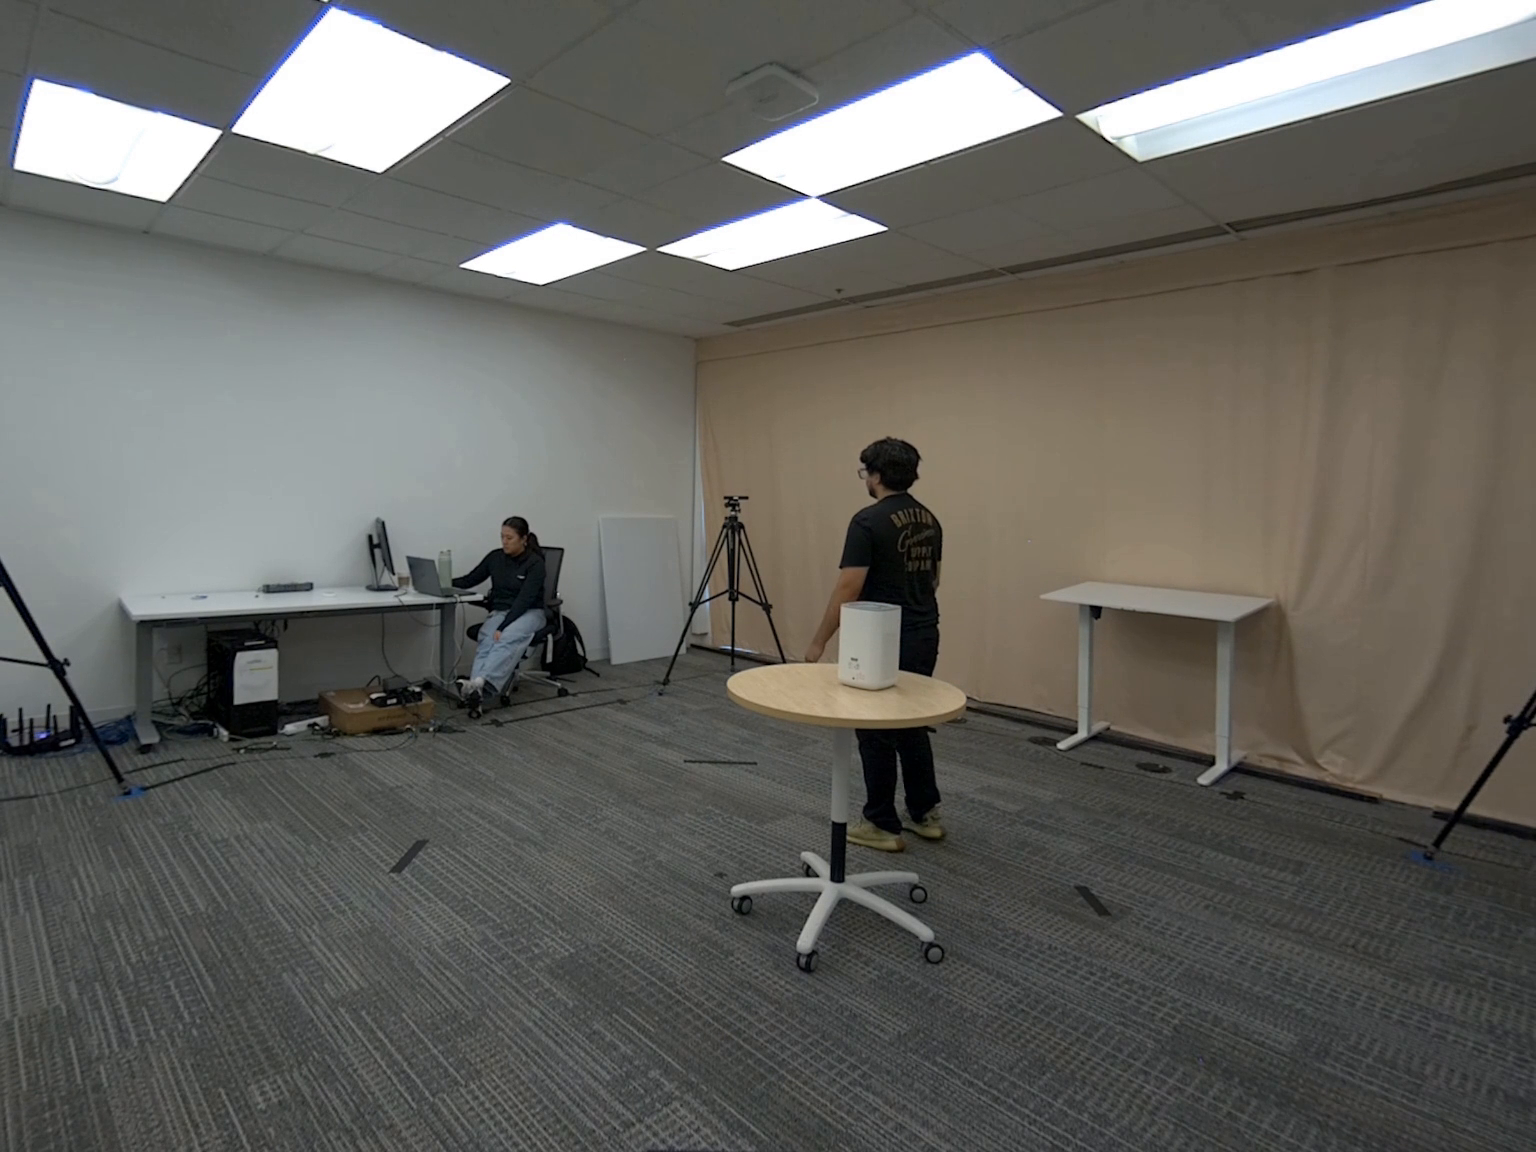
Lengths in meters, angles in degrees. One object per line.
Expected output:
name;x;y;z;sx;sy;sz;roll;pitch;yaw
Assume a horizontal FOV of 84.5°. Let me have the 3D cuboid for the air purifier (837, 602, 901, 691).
air purifier;0.335;0.232;2.743;0.172;0.261;0.170;6;6;42
